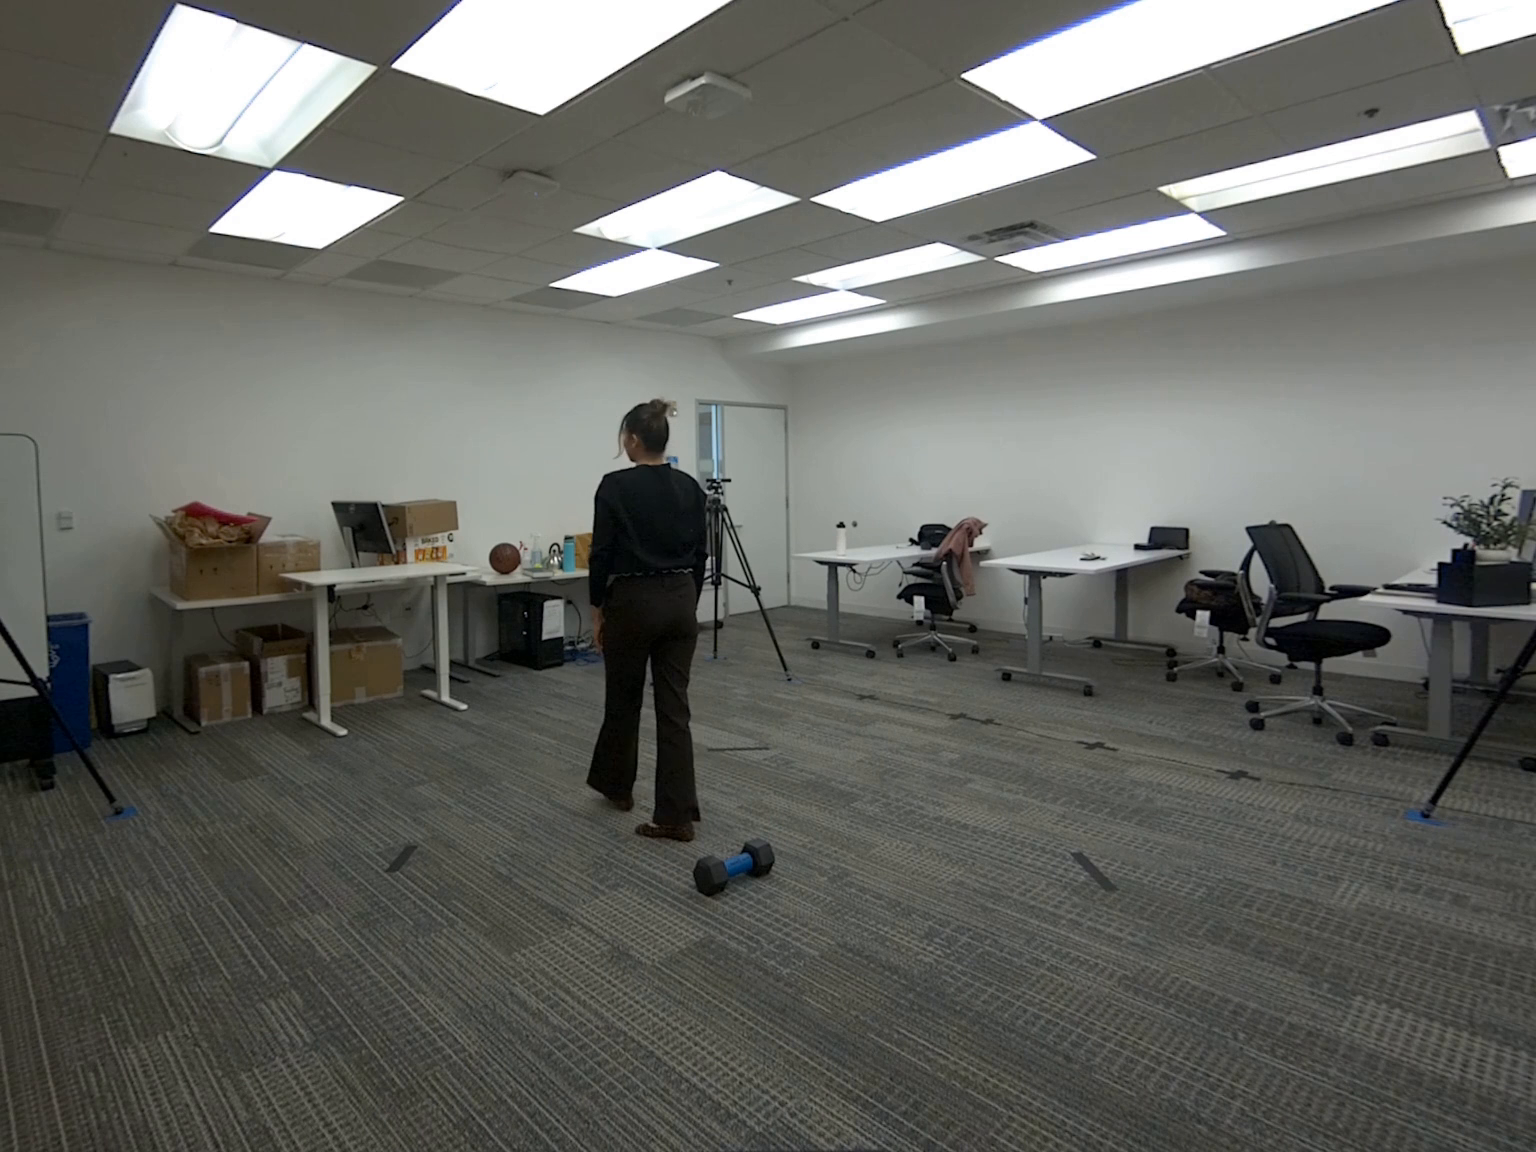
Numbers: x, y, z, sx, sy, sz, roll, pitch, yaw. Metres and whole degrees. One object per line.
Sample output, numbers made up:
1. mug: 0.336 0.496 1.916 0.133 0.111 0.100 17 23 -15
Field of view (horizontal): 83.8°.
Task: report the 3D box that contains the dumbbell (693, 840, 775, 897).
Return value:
1. dumbbell: -0.113 1.008 2.965 0.286 0.108 0.127 -6 7 -41
